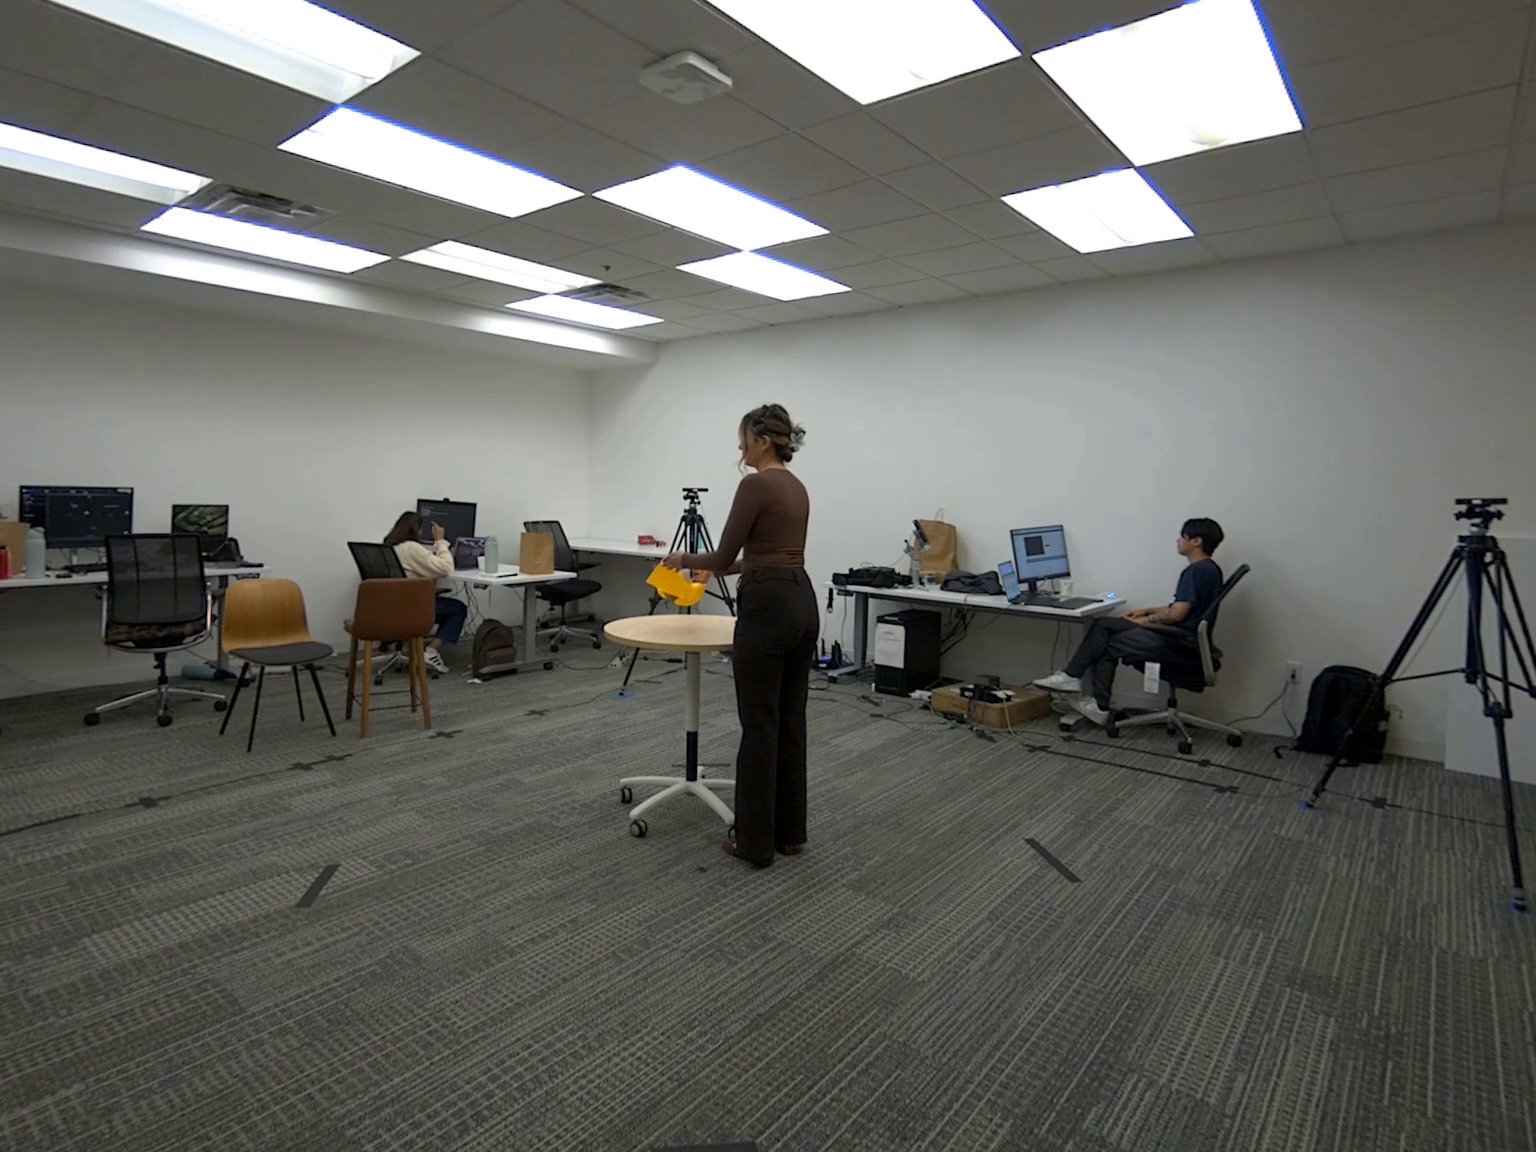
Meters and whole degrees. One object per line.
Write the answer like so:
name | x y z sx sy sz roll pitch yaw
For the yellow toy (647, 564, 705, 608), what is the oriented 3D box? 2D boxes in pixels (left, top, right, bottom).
yellow toy | -0.397 -0.019 3.580 0.211 0.224 0.193 22 47 25
